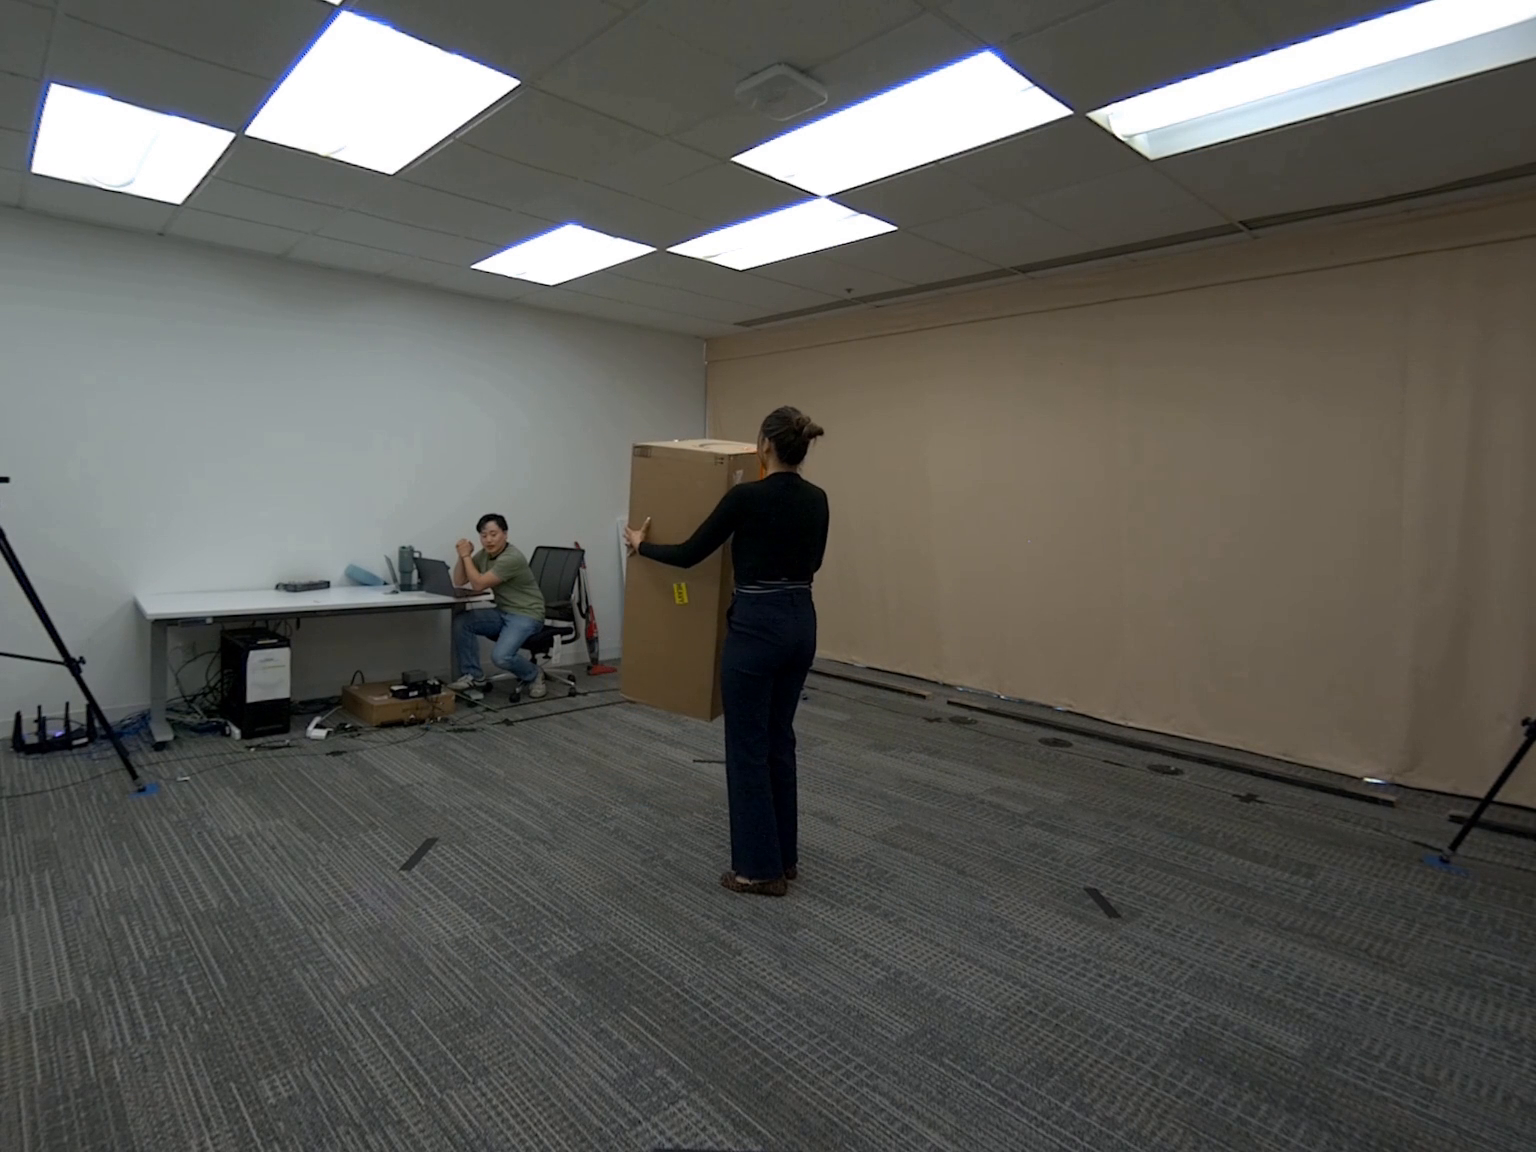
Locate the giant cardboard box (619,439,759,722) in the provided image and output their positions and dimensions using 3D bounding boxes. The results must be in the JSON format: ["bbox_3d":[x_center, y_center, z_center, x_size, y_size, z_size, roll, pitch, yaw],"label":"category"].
[{"bbox_3d":[-0.262,-0.018,3.445,0.435,1.018,0.570,9,12,24],"label":"giant cardboard box"}]
